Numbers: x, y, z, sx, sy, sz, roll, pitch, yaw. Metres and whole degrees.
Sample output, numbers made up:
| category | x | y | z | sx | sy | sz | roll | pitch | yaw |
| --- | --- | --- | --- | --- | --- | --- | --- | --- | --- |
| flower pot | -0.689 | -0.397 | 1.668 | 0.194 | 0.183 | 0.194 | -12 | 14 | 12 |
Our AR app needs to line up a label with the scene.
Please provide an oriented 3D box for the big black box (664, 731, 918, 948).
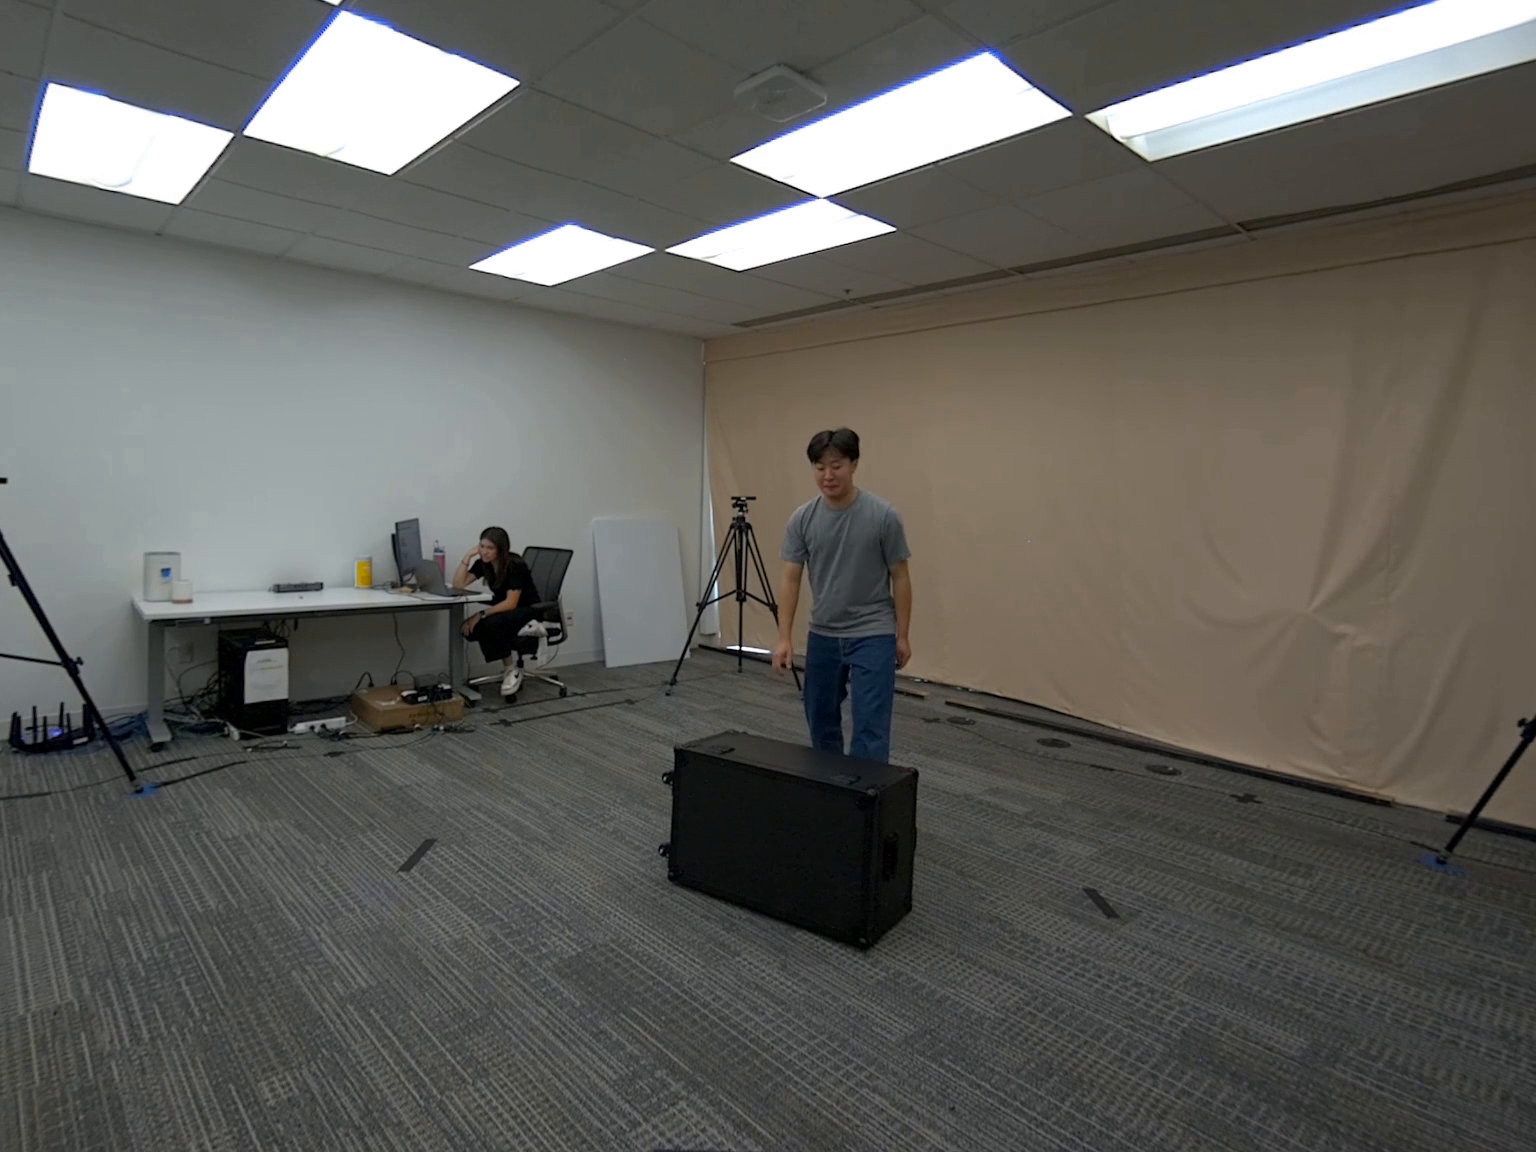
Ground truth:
| category | x | y | z | sx | sy | sz | roll | pitch | yaw |
| --- | --- | --- | --- | --- | --- | --- | --- | --- | --- |
| big black box | 0.052 | 0.865 | 2.964 | 0.882 | 0.520 | 0.387 | 5 | 3 | 33 |
